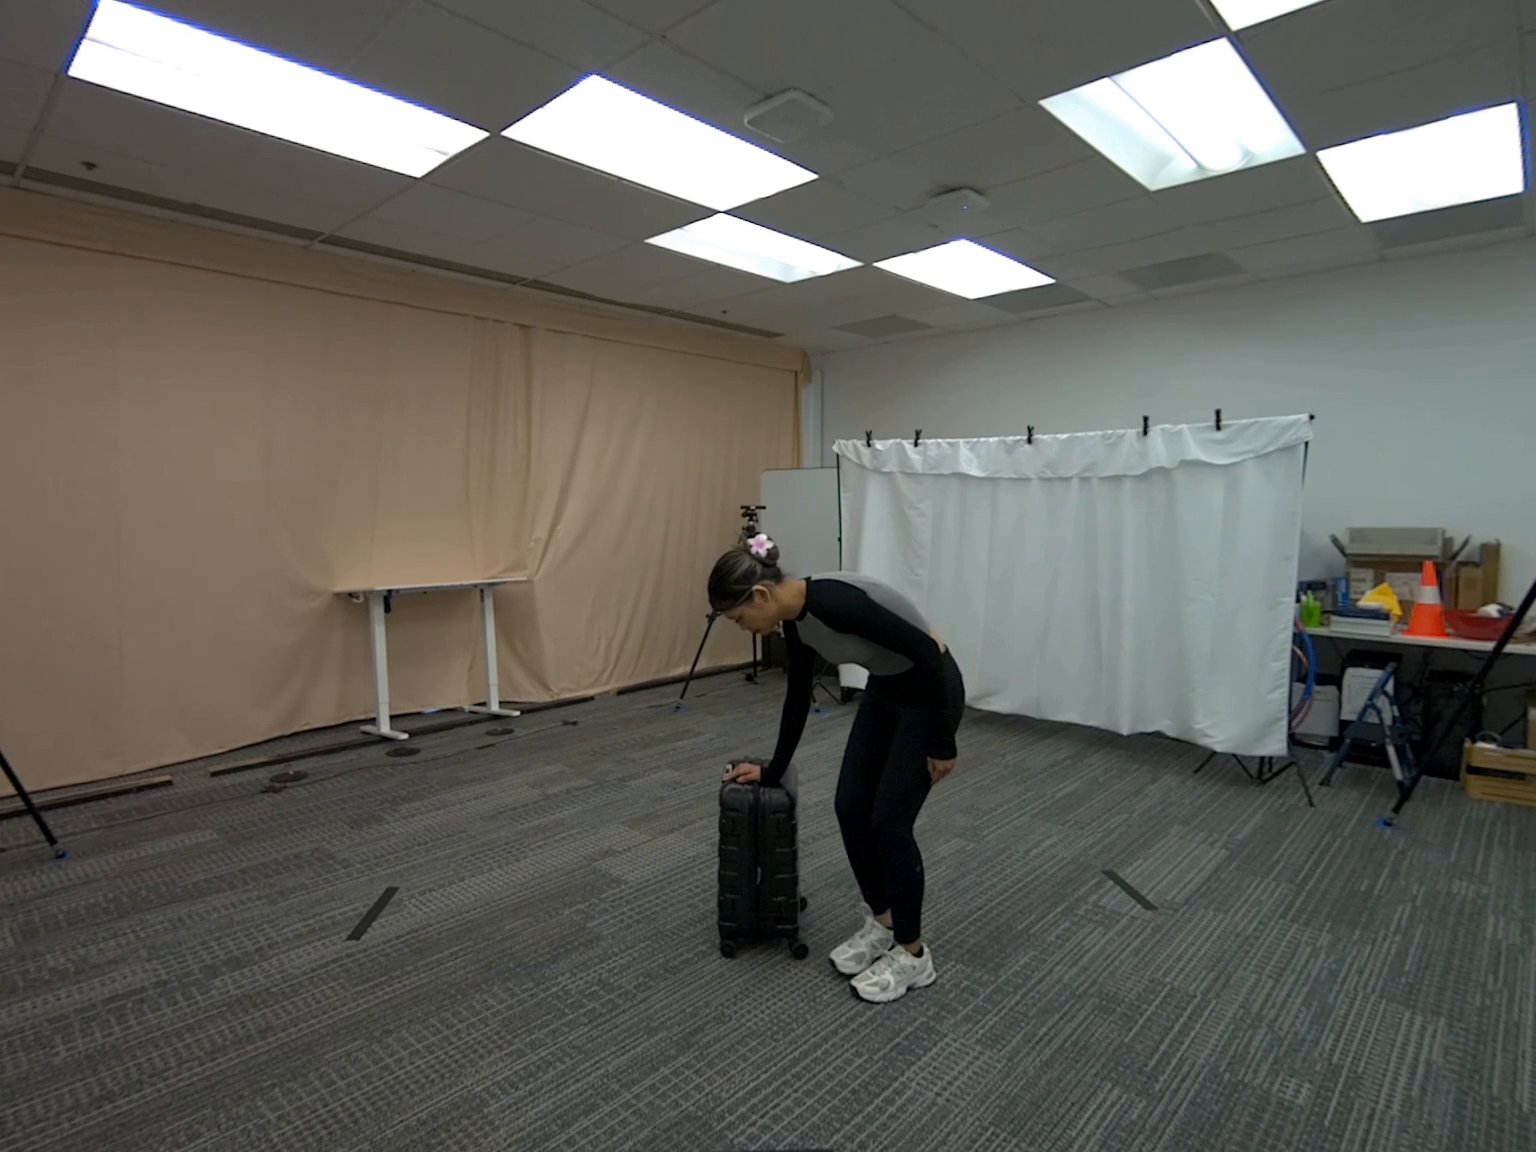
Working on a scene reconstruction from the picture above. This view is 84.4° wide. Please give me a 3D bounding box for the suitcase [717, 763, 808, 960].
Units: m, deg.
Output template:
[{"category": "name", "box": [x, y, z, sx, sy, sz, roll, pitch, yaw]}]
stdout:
[{"category": "suitcase", "box": [-0.024, 0.889, 2.740, 0.249, 0.548, 0.375, -1, 3, 2]}]
